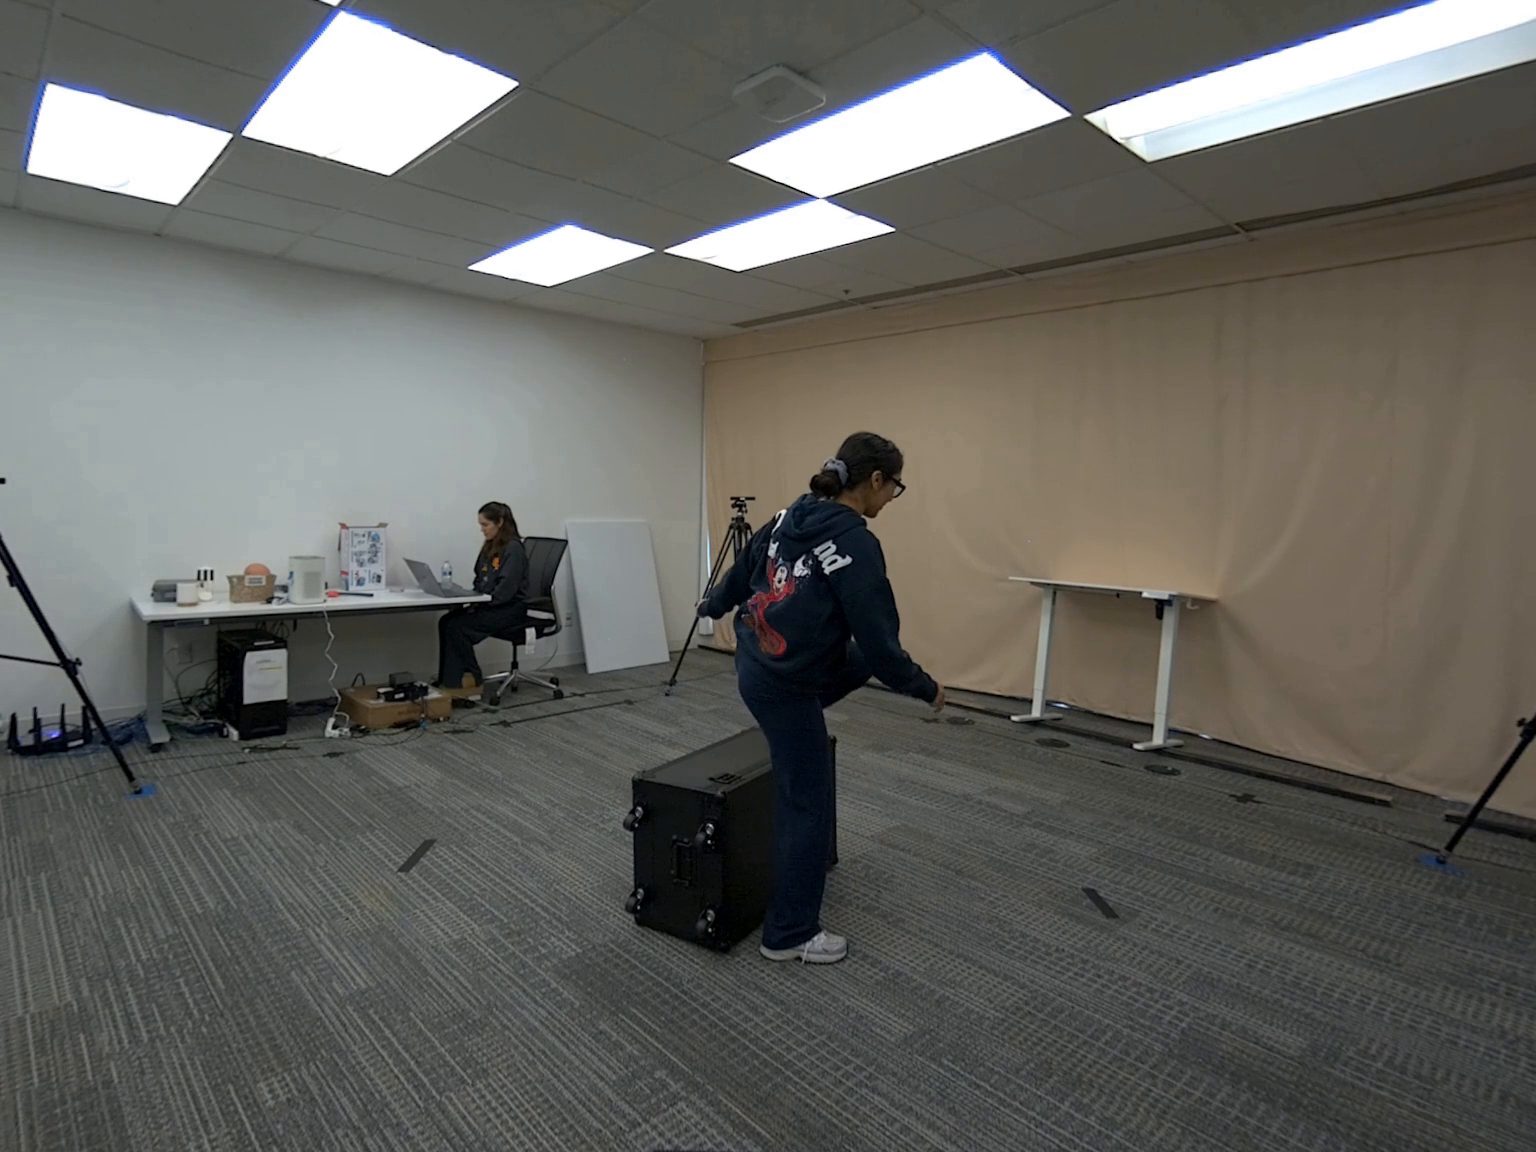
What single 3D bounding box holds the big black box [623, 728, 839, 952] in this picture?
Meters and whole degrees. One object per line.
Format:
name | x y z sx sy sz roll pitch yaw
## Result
big black box | -0.118 0.864 2.945 0.405 0.520 0.845 1 4 31
